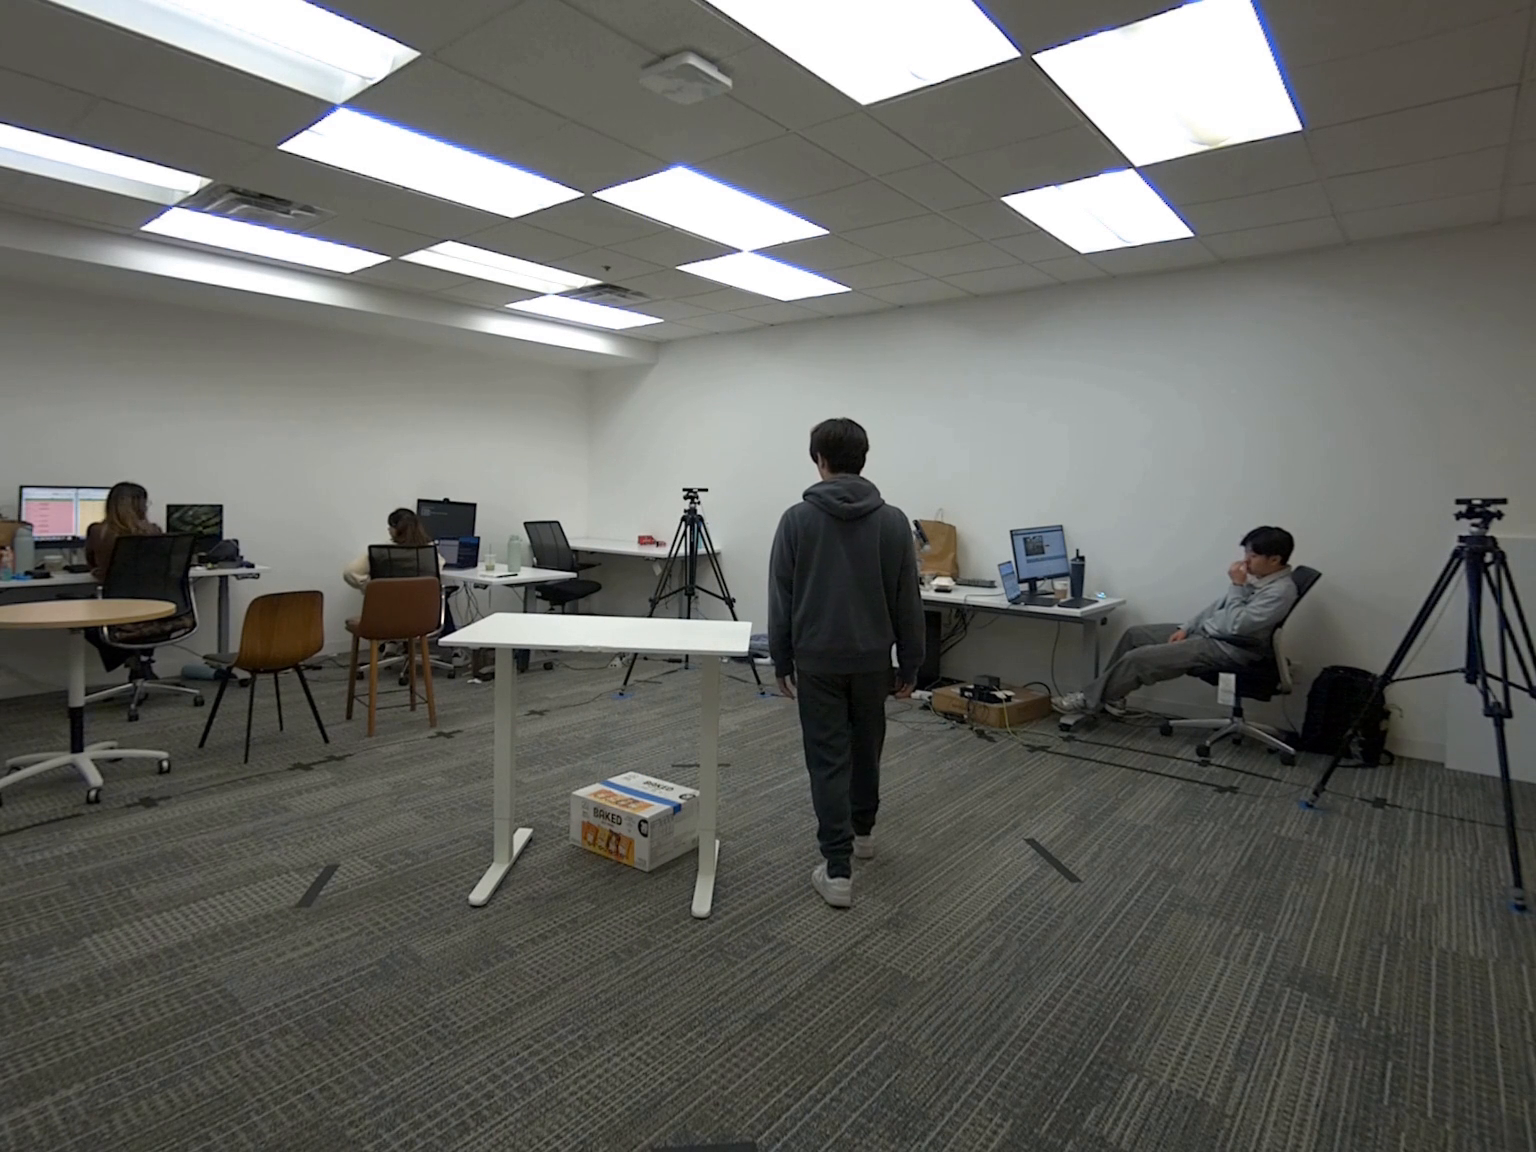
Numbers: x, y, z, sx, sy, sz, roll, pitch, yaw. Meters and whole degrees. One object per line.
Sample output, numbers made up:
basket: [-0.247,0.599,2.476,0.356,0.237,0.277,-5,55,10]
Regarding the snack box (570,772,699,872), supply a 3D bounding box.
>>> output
snack box: [-0.518,0.944,3.316,0.418,0.205,0.331,5,6,35]
